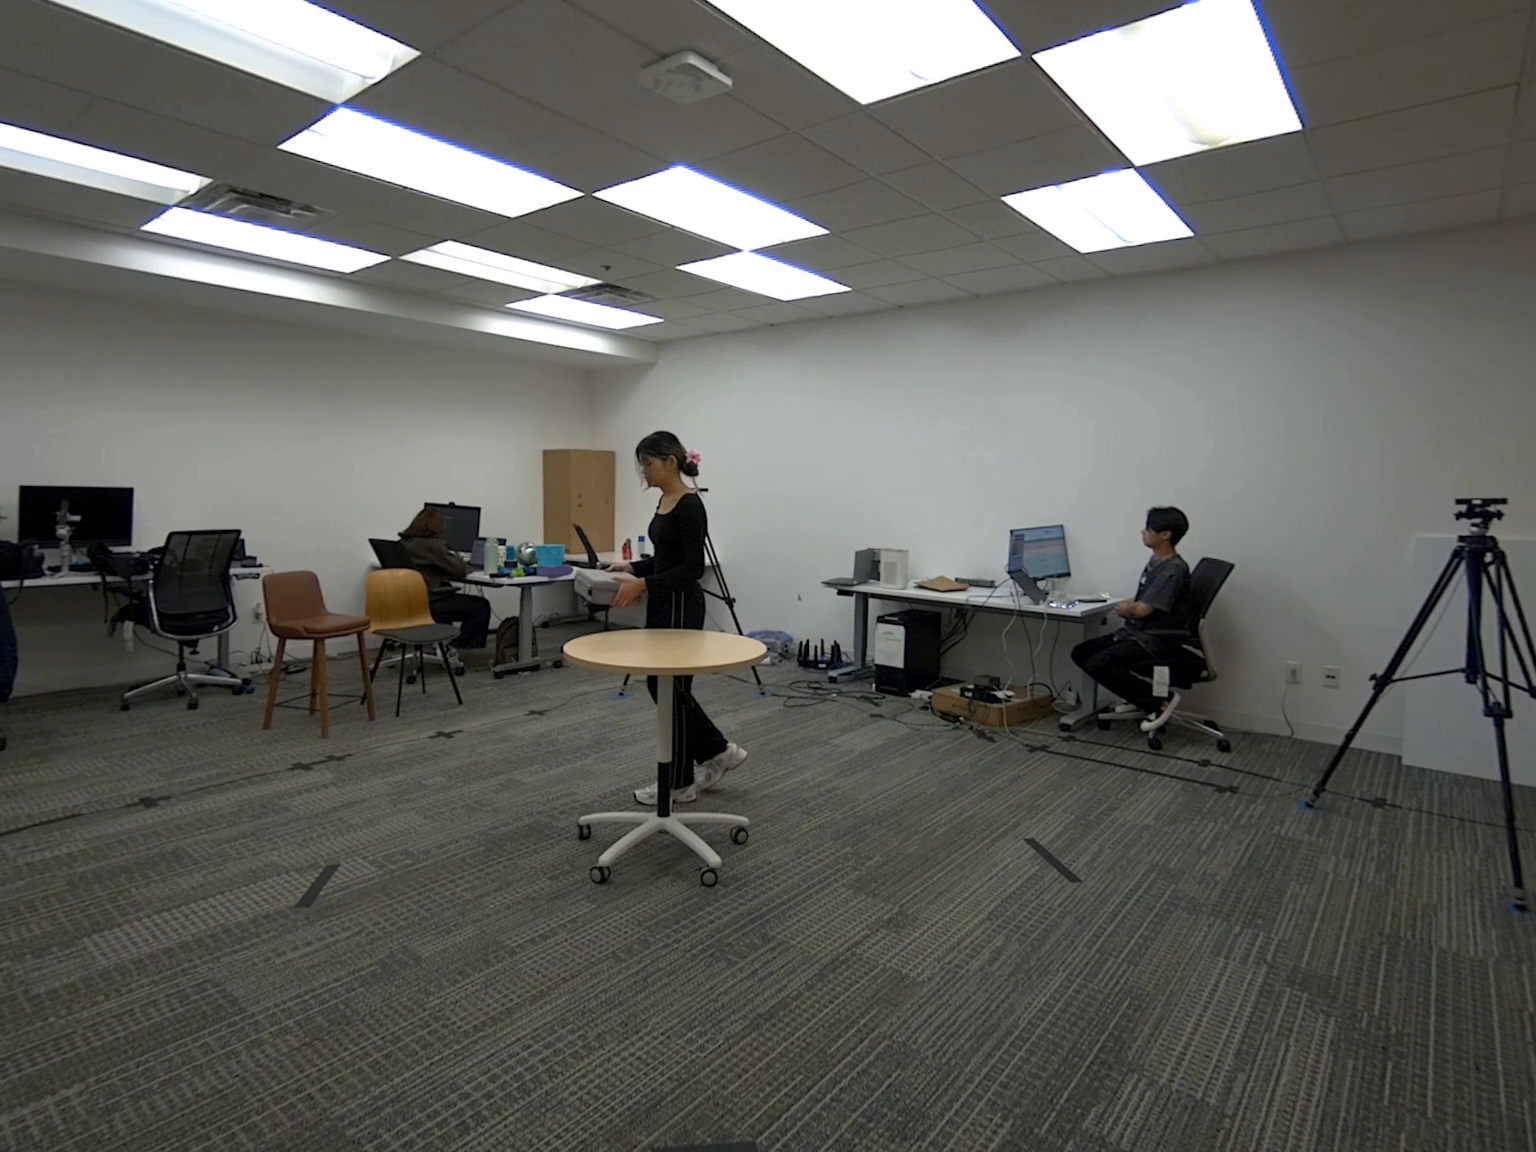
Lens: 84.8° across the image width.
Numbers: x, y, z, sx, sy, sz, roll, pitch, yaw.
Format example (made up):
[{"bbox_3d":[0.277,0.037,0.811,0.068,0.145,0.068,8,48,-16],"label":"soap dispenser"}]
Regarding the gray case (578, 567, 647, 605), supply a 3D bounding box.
[{"bbox_3d":[-0.670,0.039,3.621,0.256,0.104,0.262,4,6,-16],"label":"gray case"}]
